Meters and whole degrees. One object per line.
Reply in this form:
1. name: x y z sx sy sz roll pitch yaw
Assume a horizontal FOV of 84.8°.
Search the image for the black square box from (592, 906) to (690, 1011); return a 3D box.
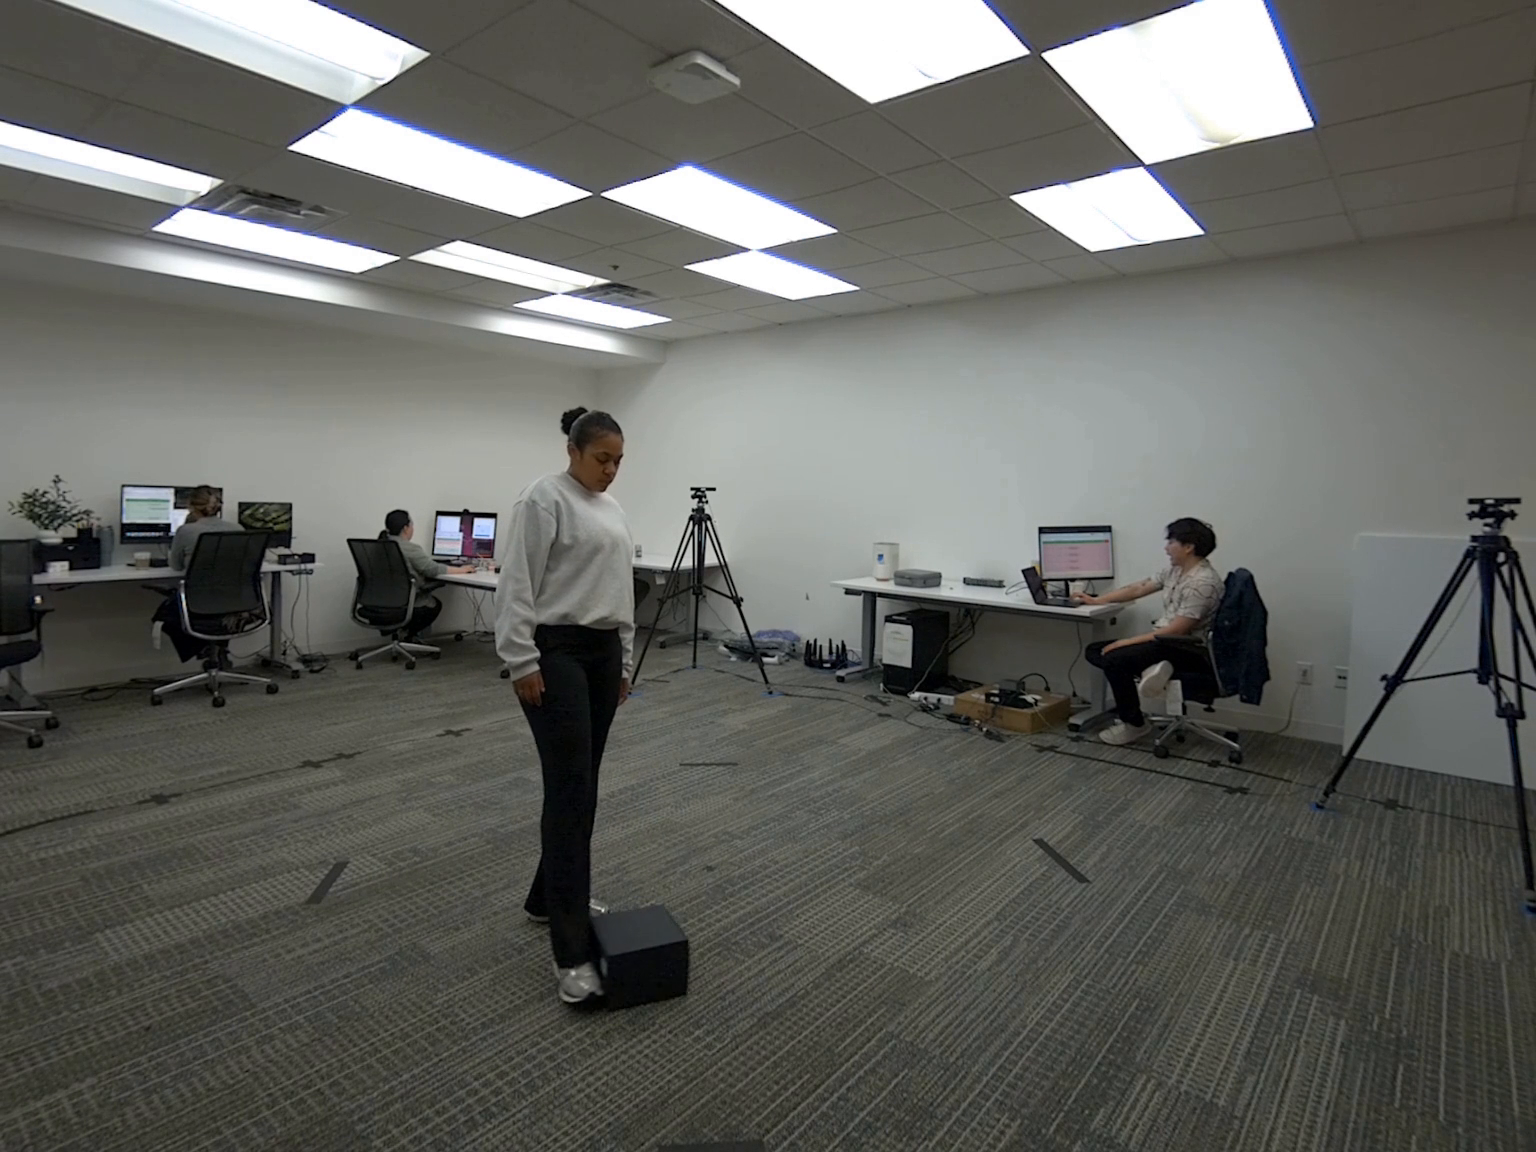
1. black square box: -0.370 1.055 2.383 0.222 0.155 0.223 -1 5 -25
